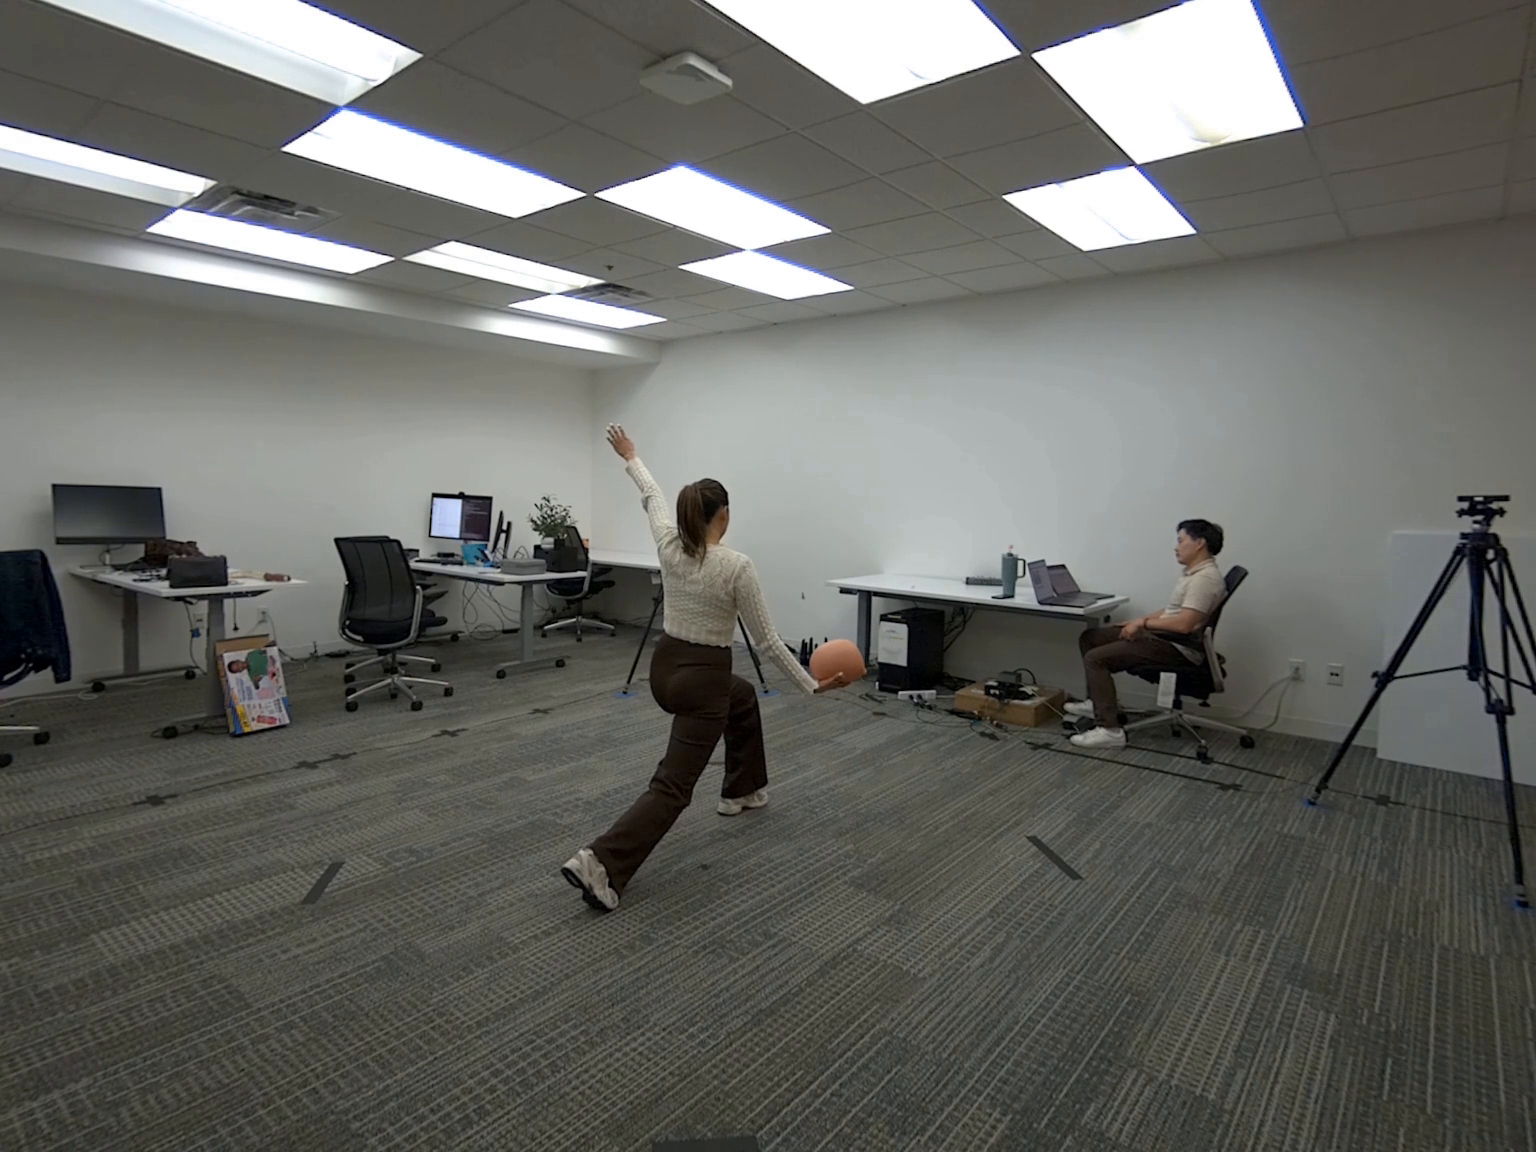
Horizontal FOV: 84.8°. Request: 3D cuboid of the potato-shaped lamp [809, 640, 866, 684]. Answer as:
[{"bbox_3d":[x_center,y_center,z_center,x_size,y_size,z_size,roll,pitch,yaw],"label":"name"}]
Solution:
[{"bbox_3d":[0.253,0.342,3.309,0.196,0.173,0.165,-19,-5,-16],"label":"potato-shaped lamp"}]
